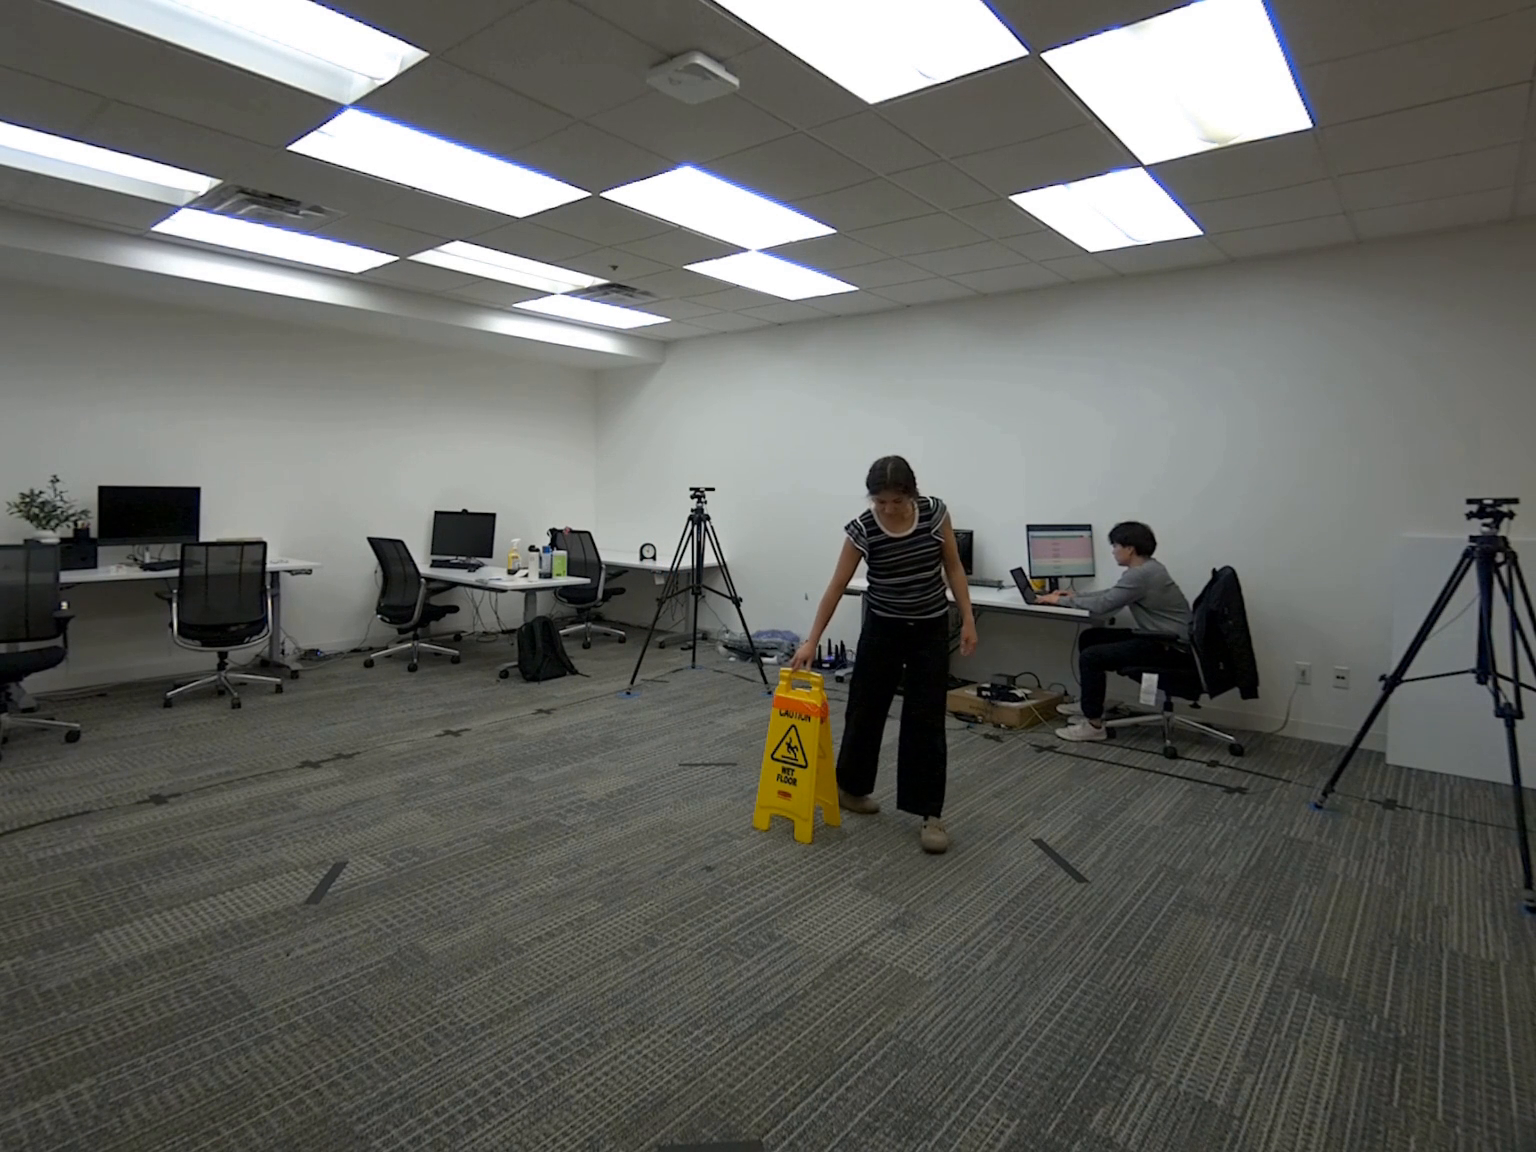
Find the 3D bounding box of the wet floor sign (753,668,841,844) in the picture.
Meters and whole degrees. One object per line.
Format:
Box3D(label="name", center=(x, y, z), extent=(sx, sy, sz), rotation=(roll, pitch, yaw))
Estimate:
Box3D(label="wet floor sign", center=(0.122, 0.708, 3.517), extent=(0.291, 0.644, 0.281), rotation=(4, 3, 34))
